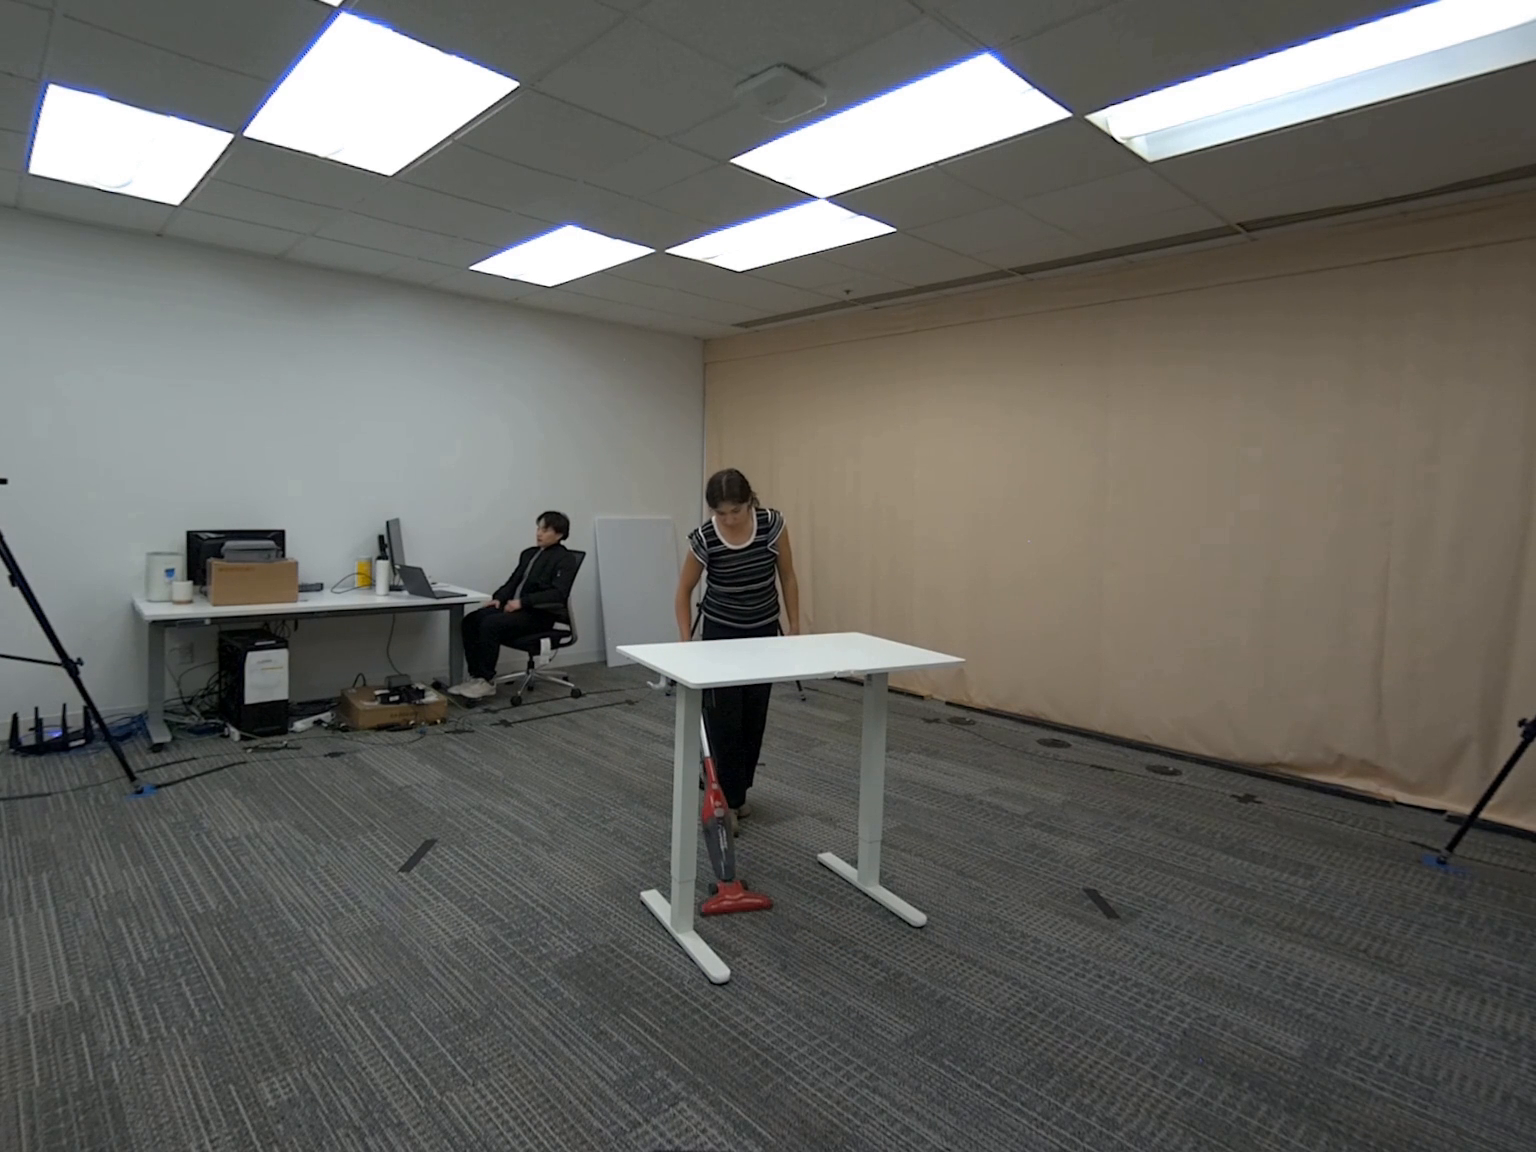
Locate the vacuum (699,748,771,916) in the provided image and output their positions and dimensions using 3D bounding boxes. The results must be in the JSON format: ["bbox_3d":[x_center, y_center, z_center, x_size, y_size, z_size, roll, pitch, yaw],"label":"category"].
[{"bbox_3d":[-0.238,0.743,3.255,0.249,0.142,1.079,-1,45,-16],"label":"vacuum"}]
